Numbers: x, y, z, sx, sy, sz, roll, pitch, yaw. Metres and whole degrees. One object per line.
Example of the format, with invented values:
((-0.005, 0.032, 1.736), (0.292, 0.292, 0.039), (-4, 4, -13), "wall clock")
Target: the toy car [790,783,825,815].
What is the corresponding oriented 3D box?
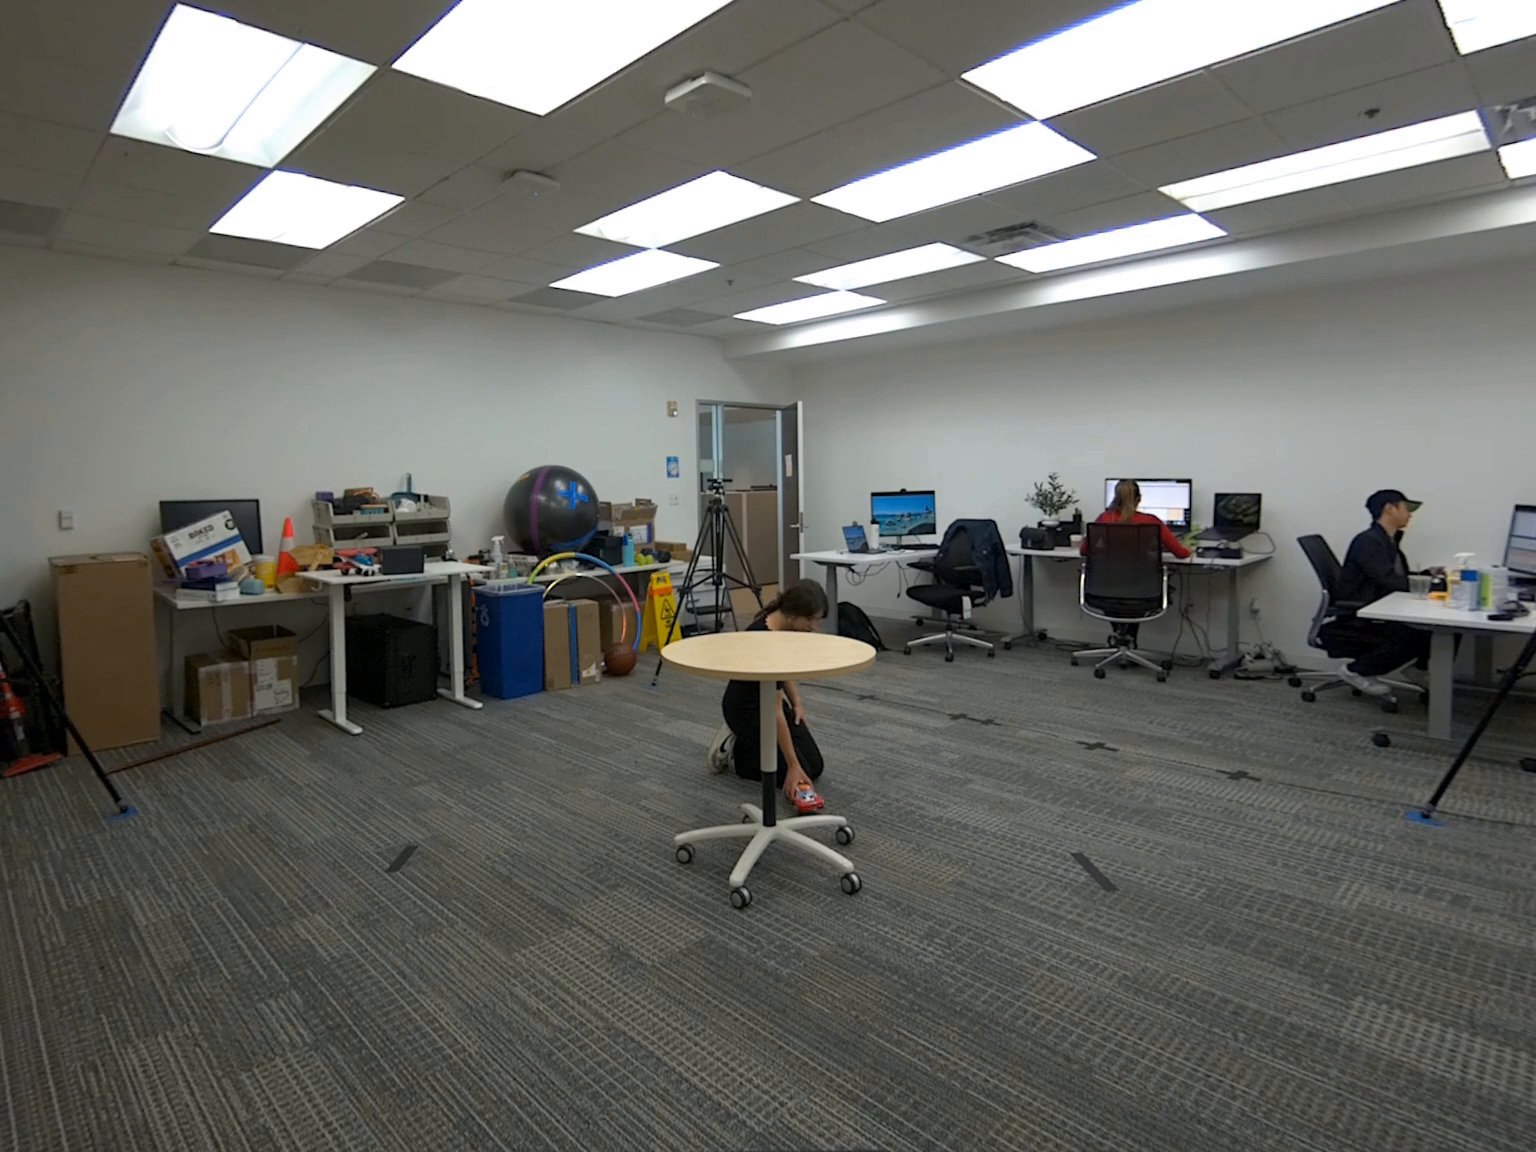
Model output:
((0.155, 0.929, 3.648), (0.129, 0.082, 0.262), (-10, 21, -12), "toy car")
